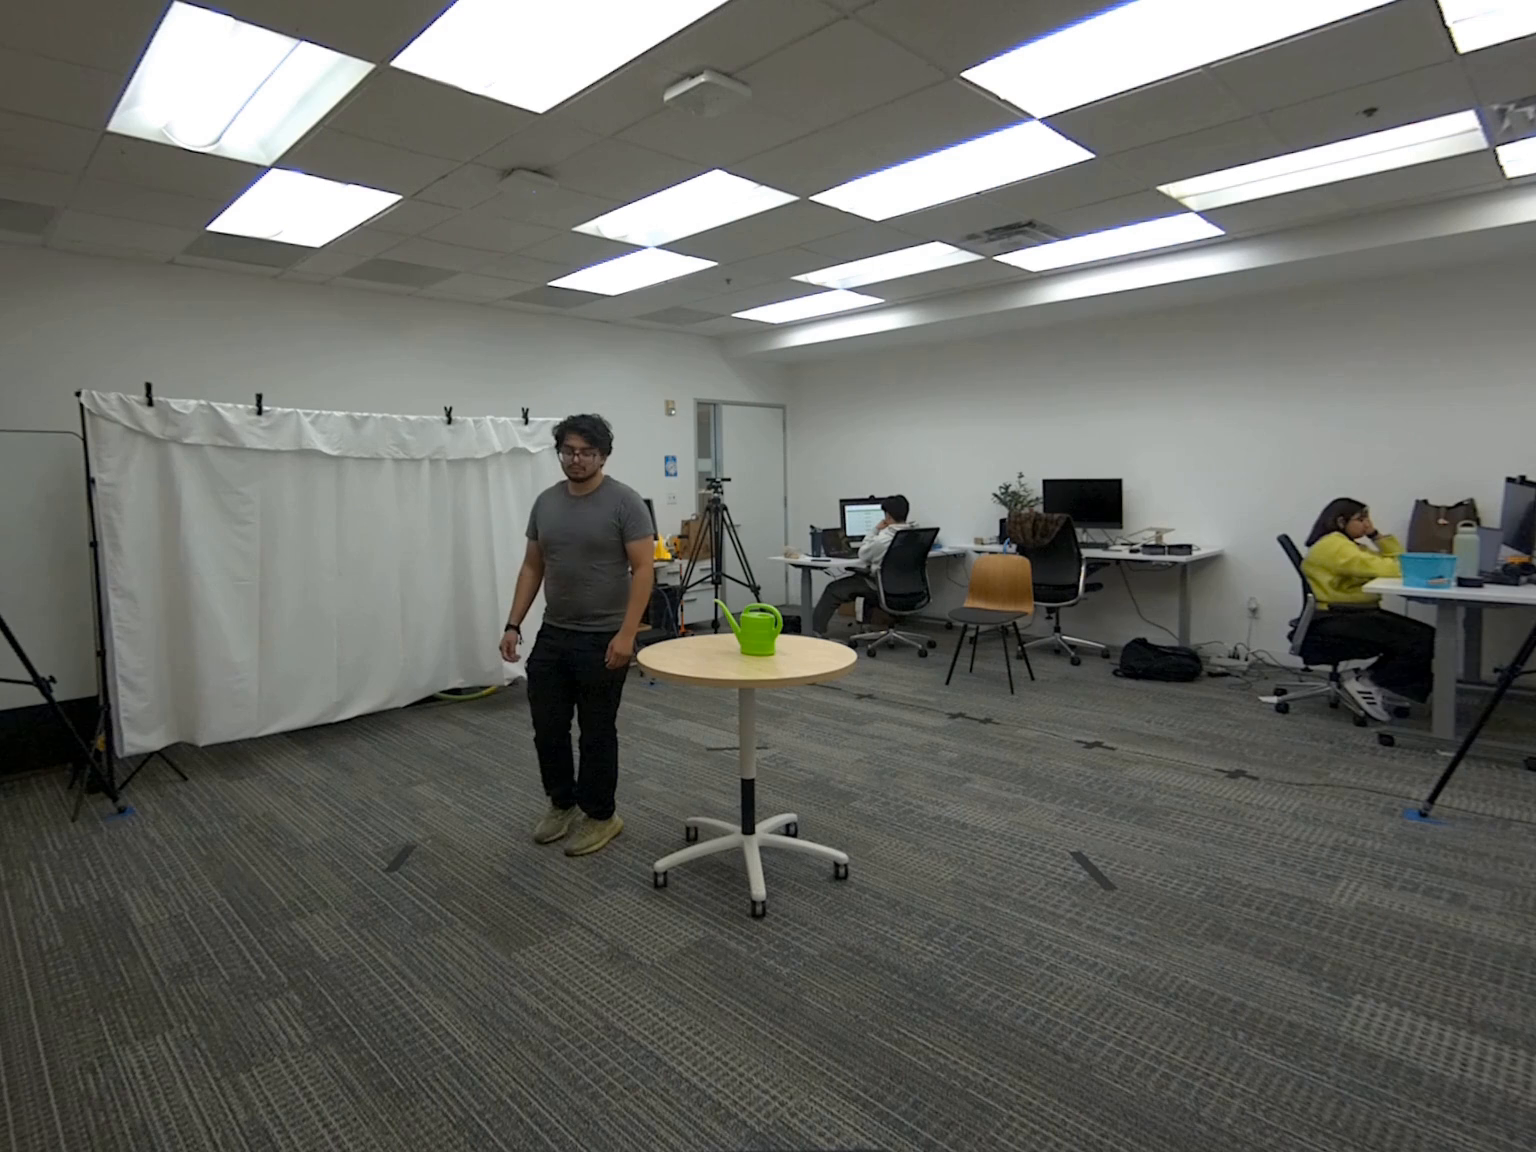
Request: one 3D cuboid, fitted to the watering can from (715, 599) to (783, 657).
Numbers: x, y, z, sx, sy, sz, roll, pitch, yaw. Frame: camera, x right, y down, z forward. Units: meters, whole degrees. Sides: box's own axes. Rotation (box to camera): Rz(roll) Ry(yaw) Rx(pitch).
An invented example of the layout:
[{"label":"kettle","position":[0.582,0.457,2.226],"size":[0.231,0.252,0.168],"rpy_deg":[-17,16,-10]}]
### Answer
[{"label":"watering can","position":[-0.071,0.179,3.023],"size":[0.287,0.176,0.095],"rpy_deg":[5,6,42]}]
